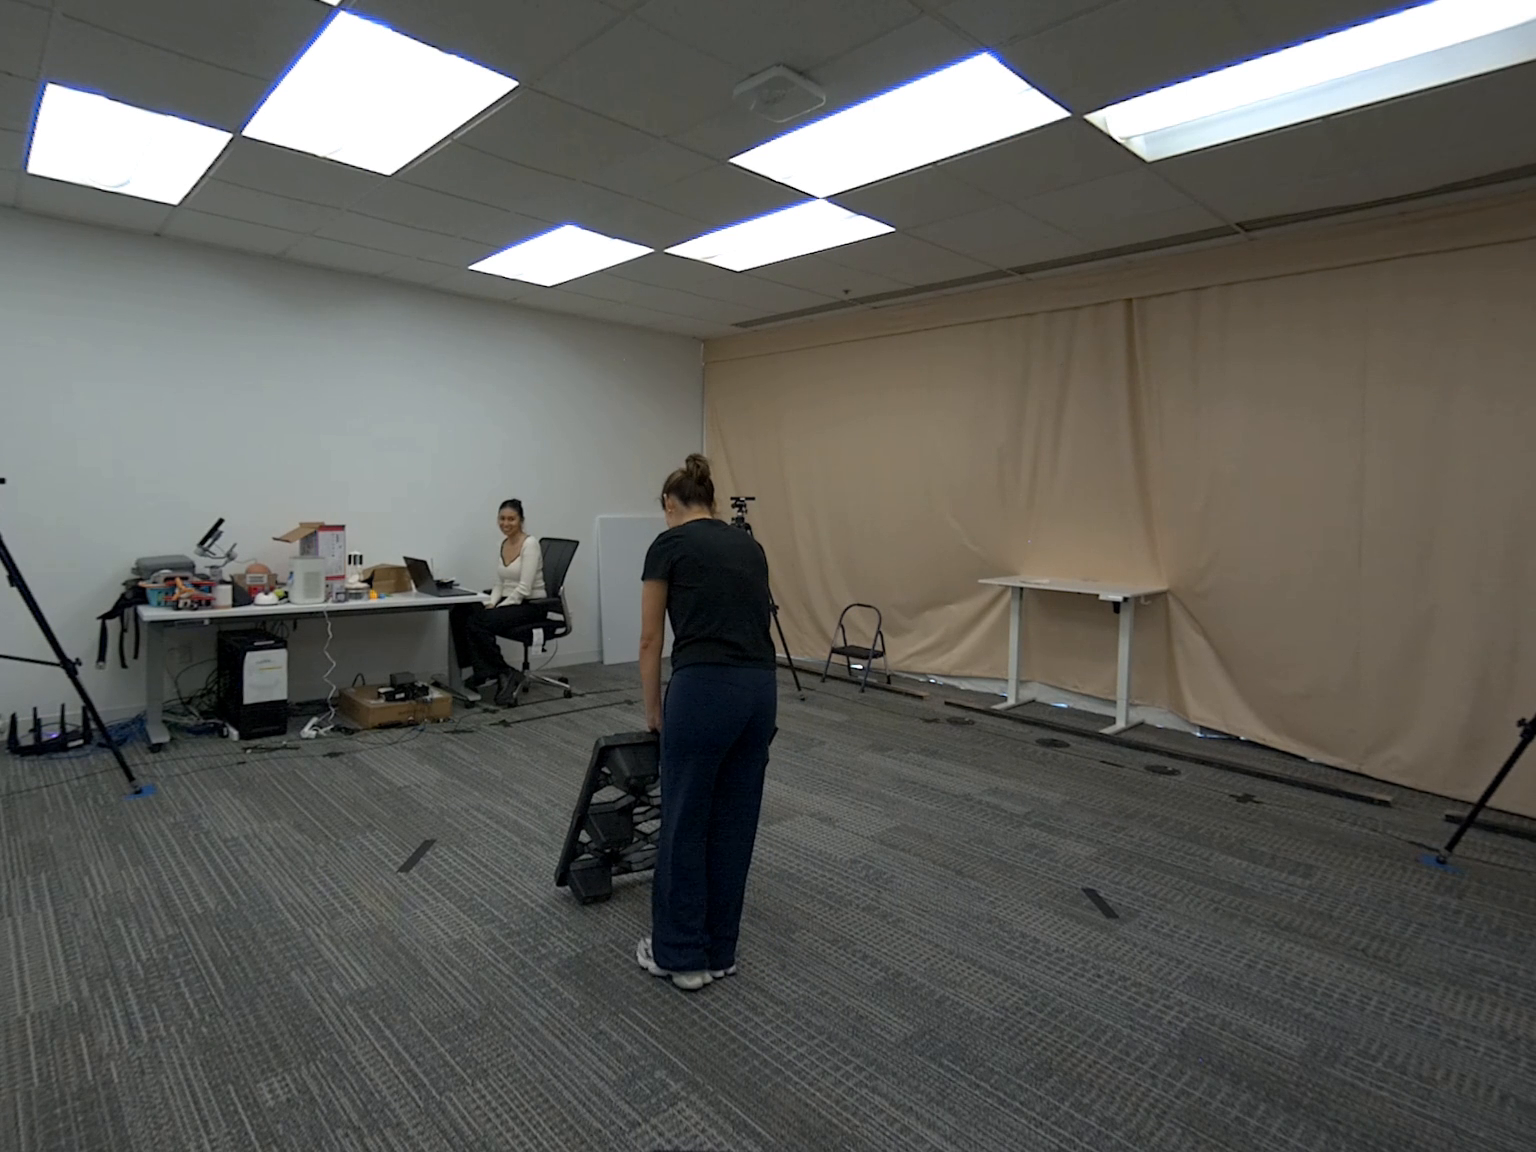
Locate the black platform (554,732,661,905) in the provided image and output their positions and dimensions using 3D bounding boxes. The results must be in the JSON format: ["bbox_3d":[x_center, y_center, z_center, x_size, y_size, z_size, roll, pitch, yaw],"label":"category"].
[{"bbox_3d":[-0.340,0.804,2.774,0.594,0.796,0.148,-1,42,-27],"label":"black platform"}]
